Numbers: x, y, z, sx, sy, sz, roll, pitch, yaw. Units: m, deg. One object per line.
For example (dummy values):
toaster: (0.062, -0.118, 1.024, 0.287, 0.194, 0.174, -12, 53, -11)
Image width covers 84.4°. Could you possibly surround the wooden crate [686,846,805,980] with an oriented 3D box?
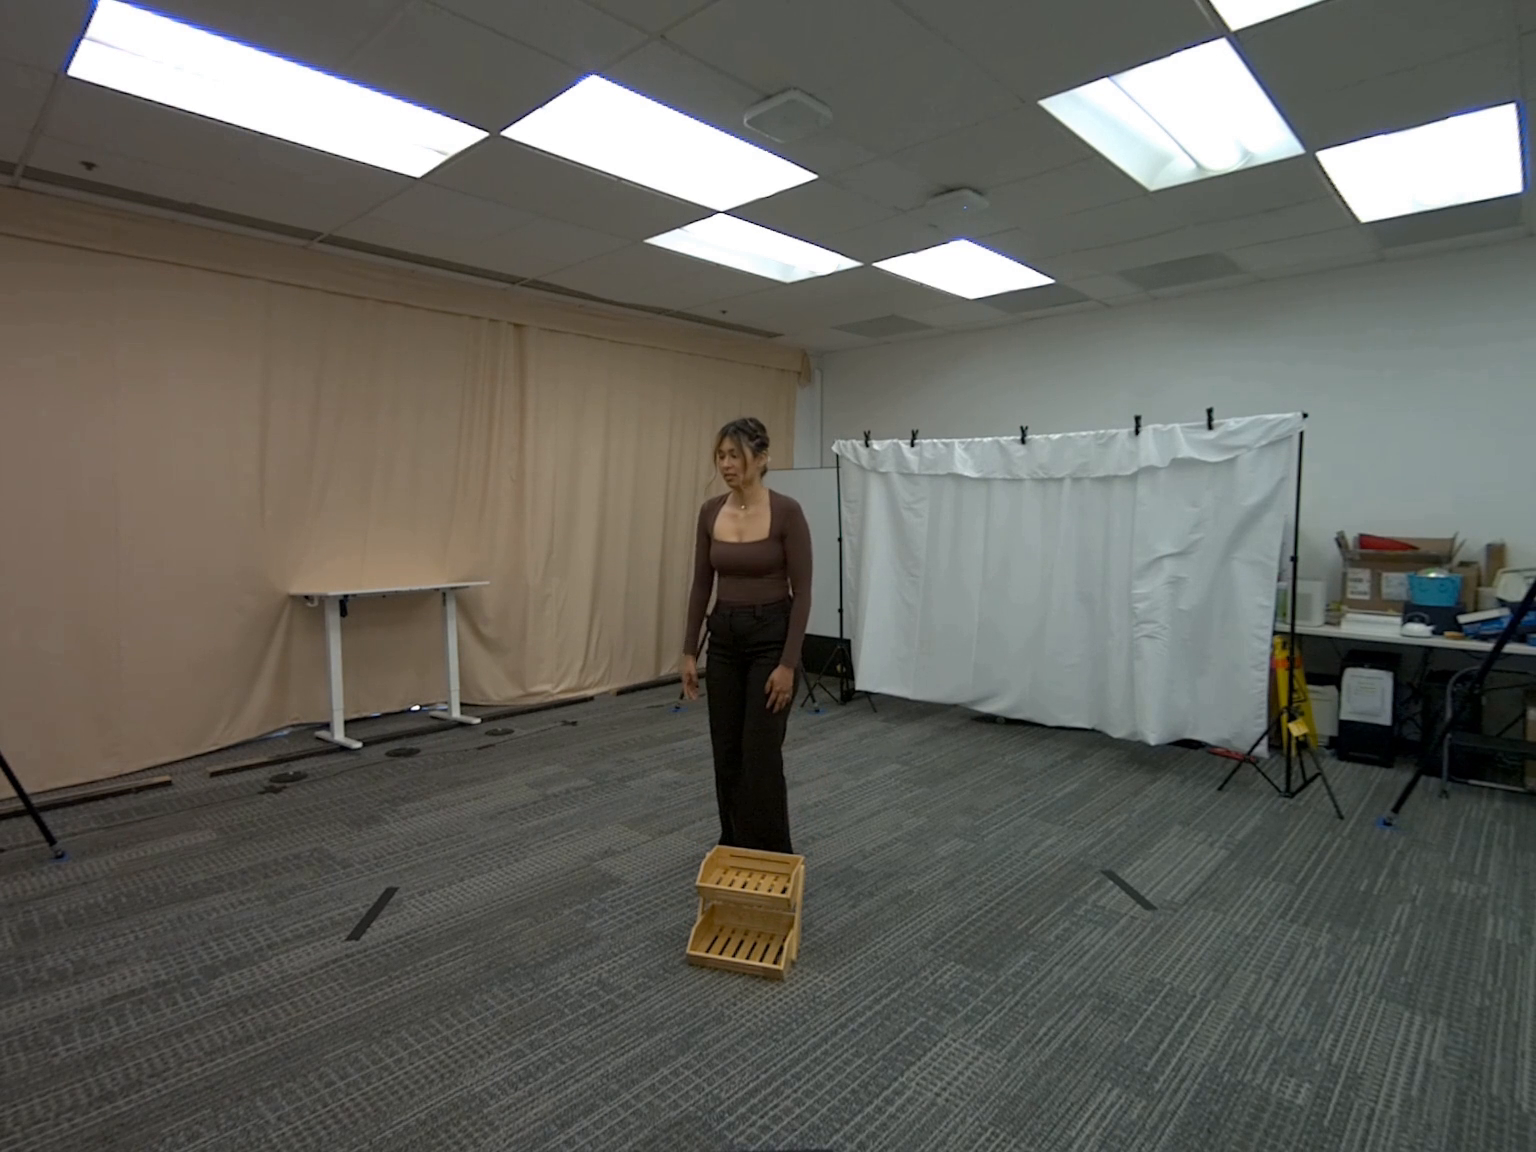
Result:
wooden crate: (-0.063, 1.033, 2.631, 0.330, 0.273, 0.297, 1, 3, 16)
